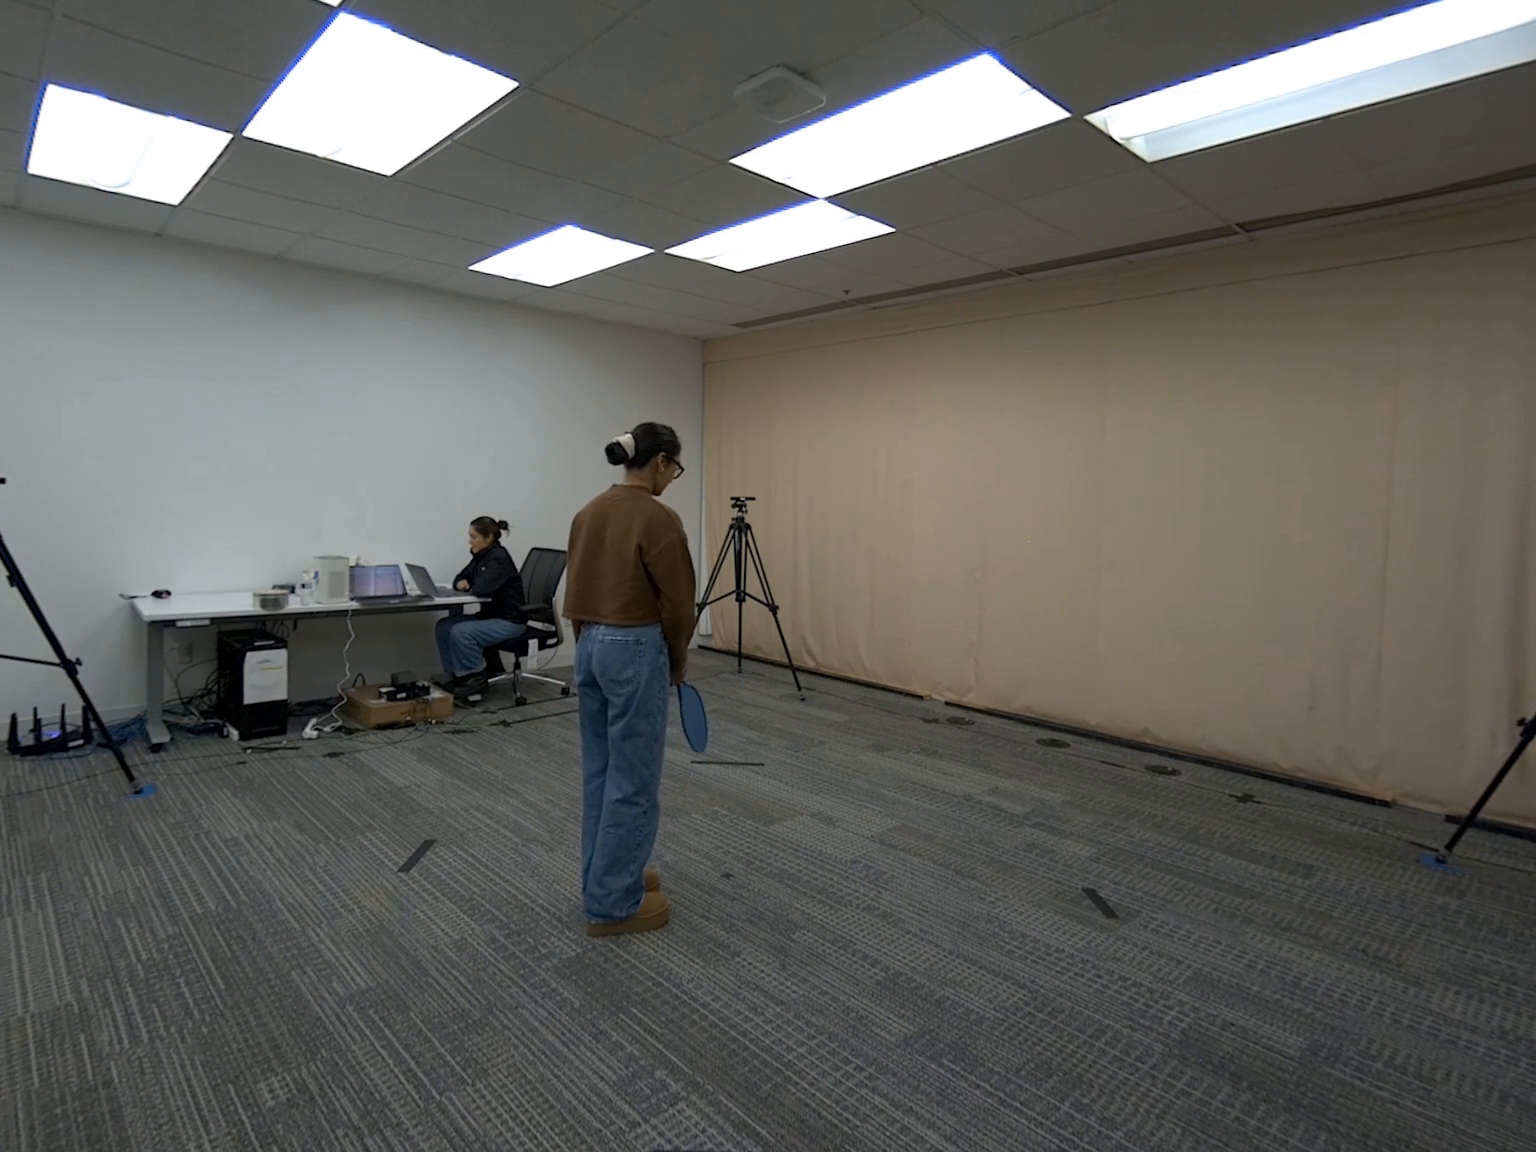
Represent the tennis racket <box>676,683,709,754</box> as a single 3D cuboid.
[{"bbox_3d":[-0.301,0.439,2.996,0.032,0.423,0.215,-9,28,20],"label":"tennis racket"}]
